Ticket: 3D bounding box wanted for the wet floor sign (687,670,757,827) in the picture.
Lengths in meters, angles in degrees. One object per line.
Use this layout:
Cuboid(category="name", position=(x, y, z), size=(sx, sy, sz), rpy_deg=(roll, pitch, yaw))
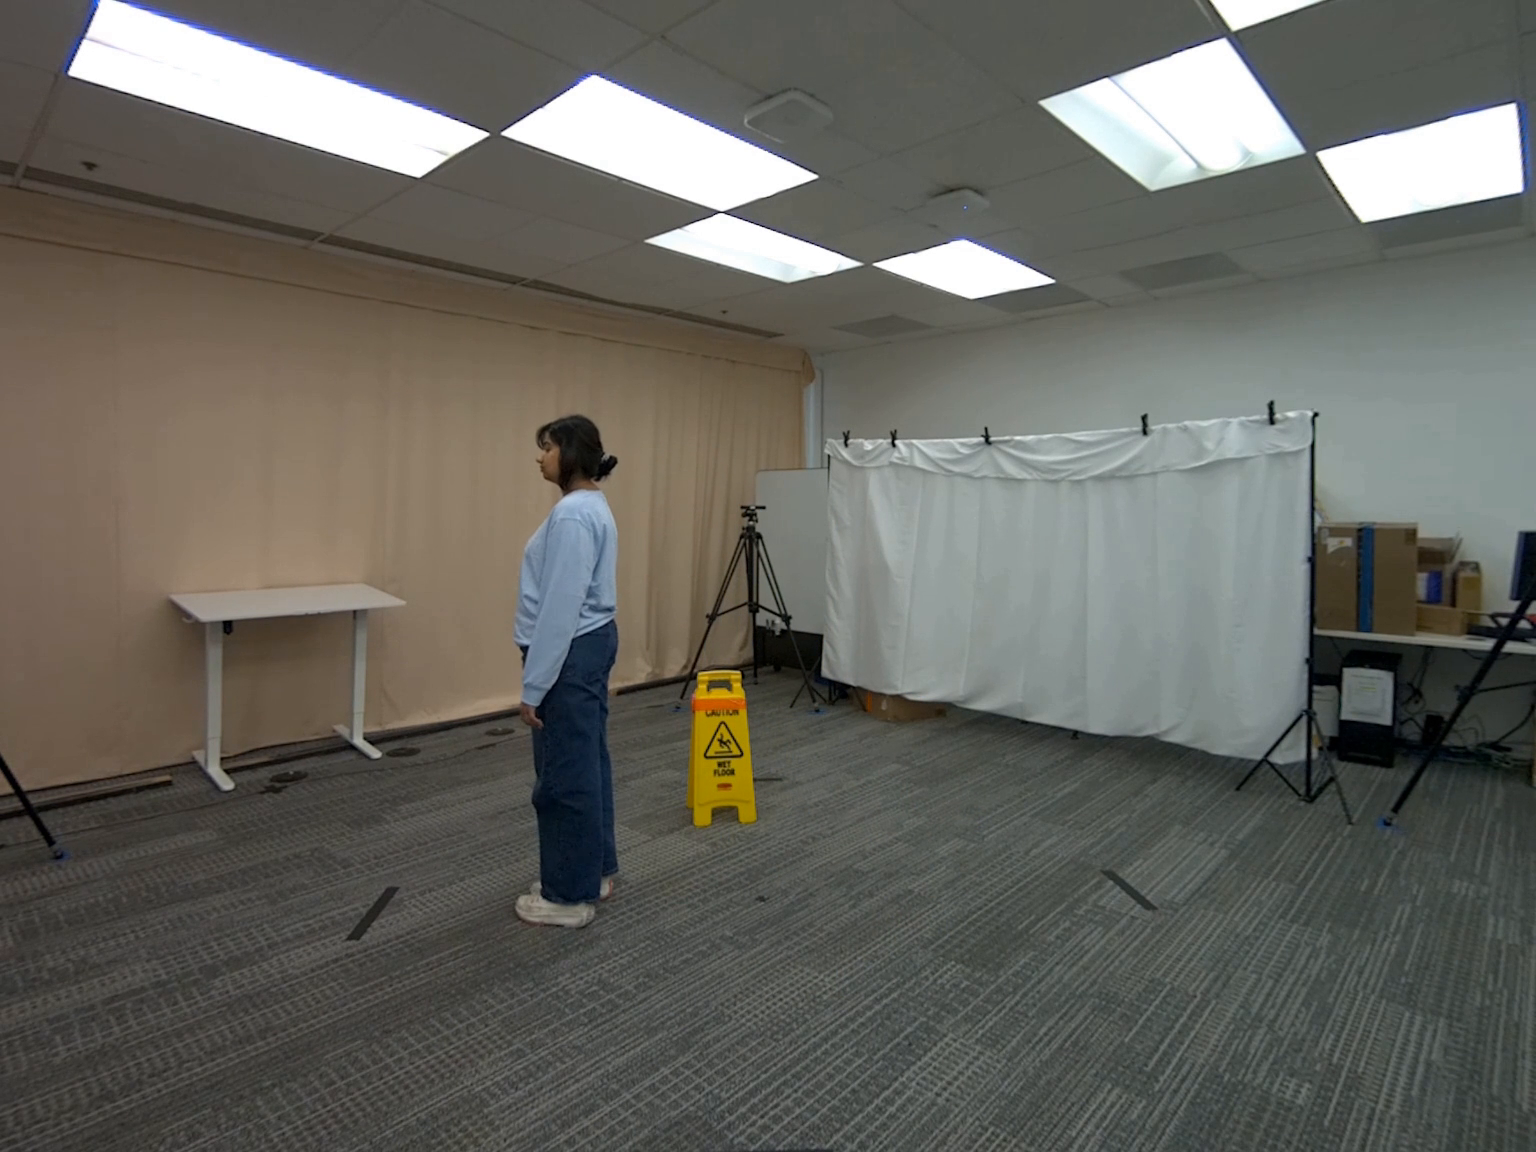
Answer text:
Cuboid(category="wet floor sign", position=(-0.215, 0.752, 3.797), size=(0.279, 0.644, 0.293), rpy_deg=(-2, 3, -11))
